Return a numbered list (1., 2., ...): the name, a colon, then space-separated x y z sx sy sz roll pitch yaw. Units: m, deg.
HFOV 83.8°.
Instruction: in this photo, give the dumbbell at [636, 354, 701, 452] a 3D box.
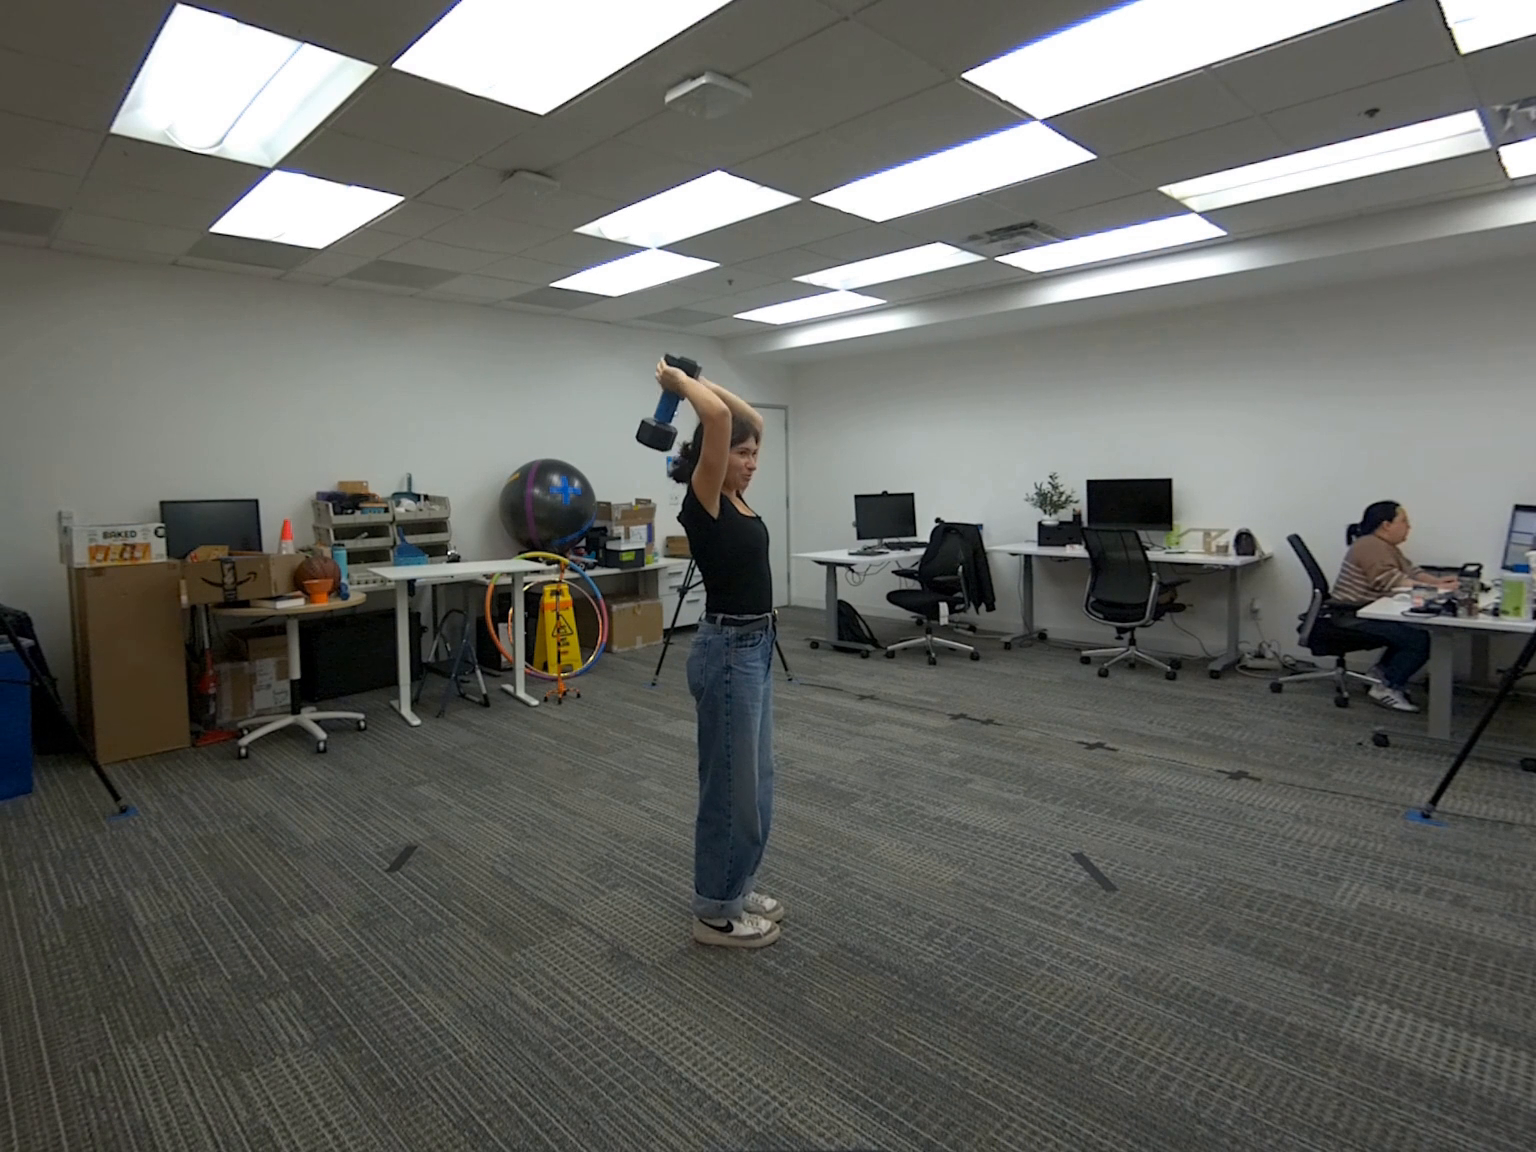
1. dumbbell: -0.300 -0.529 2.609 0.127 0.291 0.105 33 18 35
